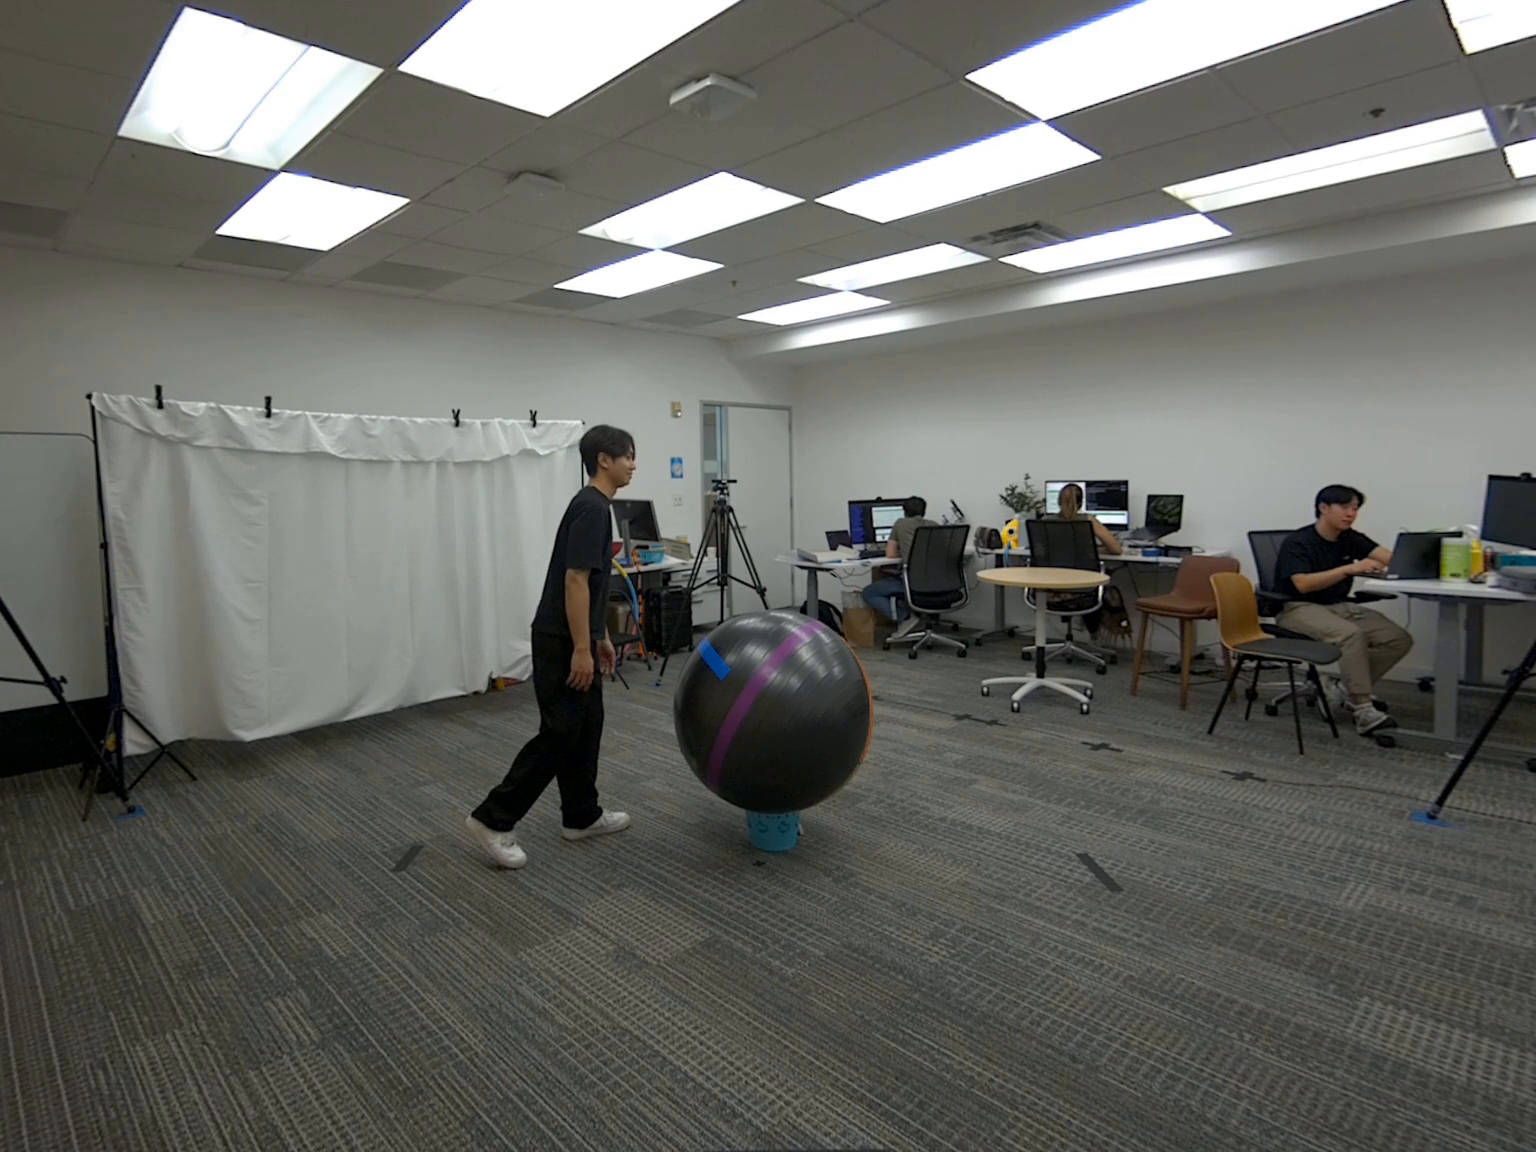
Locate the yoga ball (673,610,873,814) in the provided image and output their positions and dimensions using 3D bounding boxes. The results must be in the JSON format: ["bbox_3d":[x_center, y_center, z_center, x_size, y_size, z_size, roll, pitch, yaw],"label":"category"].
[{"bbox_3d":[0.024,0.516,3.275,0.757,0.755,0.762,-1,5,-2],"label":"yoga ball"}]
